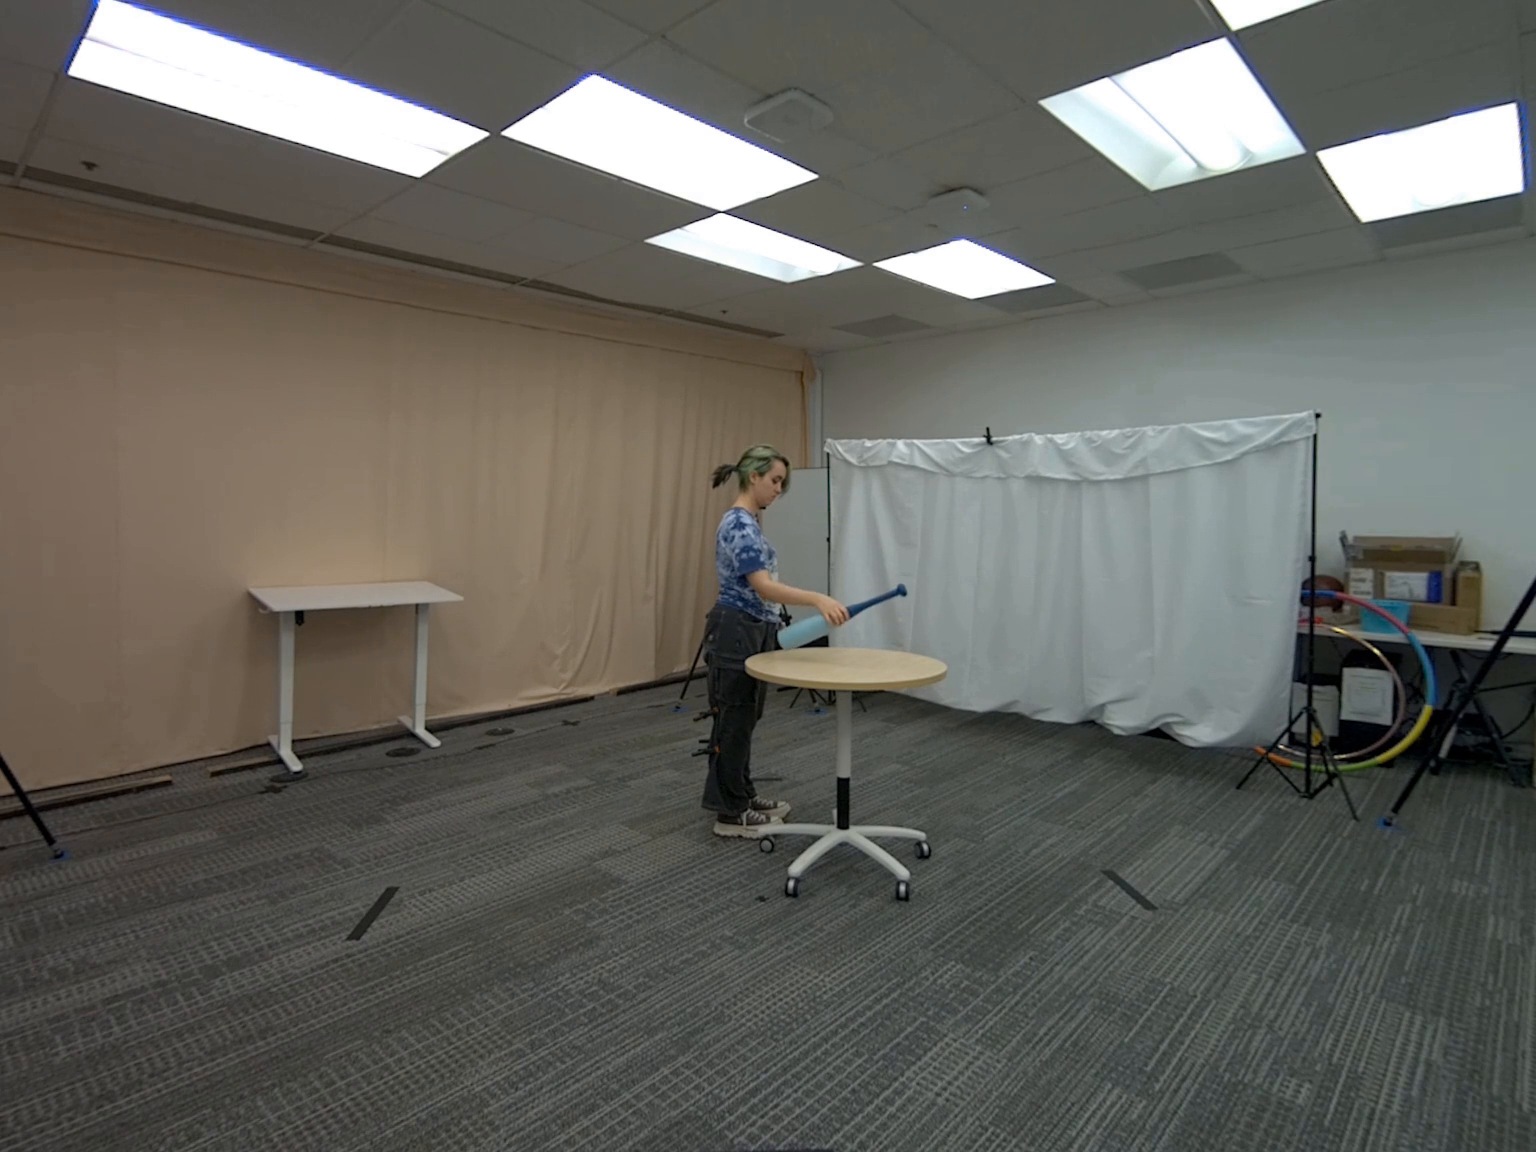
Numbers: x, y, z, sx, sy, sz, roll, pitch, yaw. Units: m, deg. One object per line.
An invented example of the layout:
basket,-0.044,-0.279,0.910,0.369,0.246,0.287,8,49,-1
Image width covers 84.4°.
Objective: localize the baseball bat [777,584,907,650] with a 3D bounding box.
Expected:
baseball bat,0.274,0.155,3.230,0.551,0.090,0.087,-26,-6,22
